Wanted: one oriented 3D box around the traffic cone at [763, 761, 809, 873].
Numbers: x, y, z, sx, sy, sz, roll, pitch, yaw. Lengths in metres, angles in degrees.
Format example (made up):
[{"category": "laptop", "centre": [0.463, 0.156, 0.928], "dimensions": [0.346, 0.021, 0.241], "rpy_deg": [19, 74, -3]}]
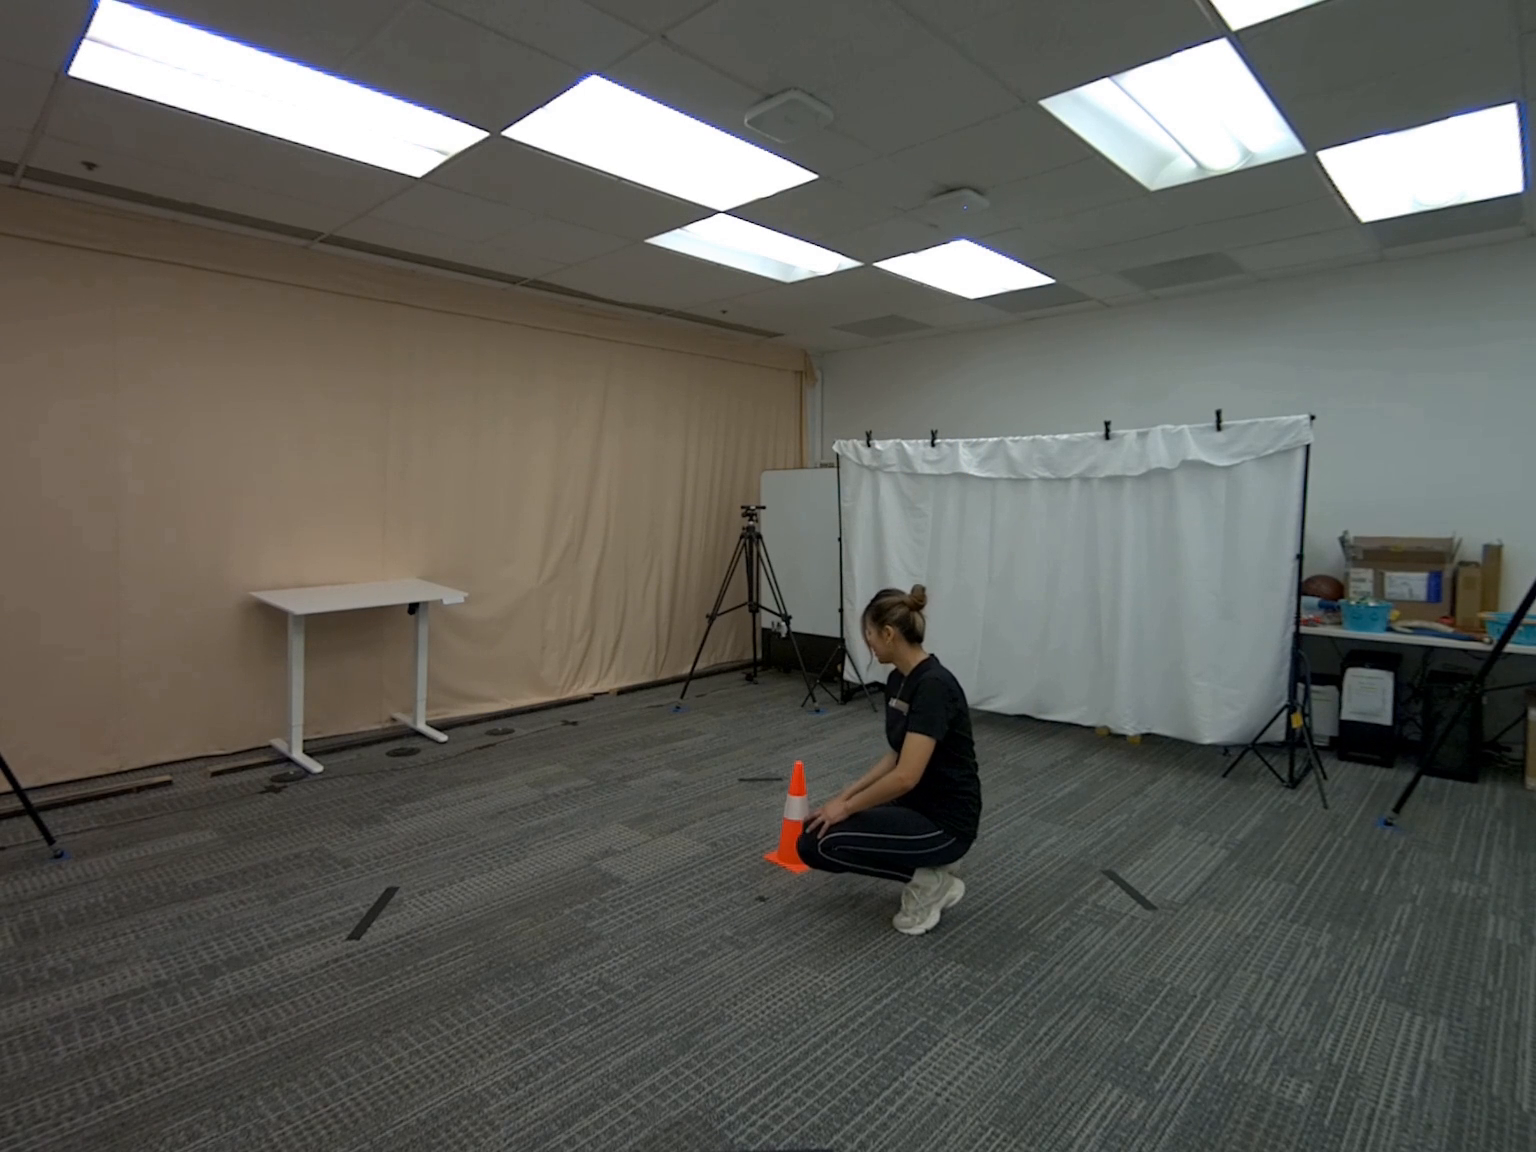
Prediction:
[{"category": "traffic cone", "centre": [0.112, 0.932, 3.318], "dimensions": [0.210, 0.383, 0.199], "rpy_deg": [2, 4, 41]}]
